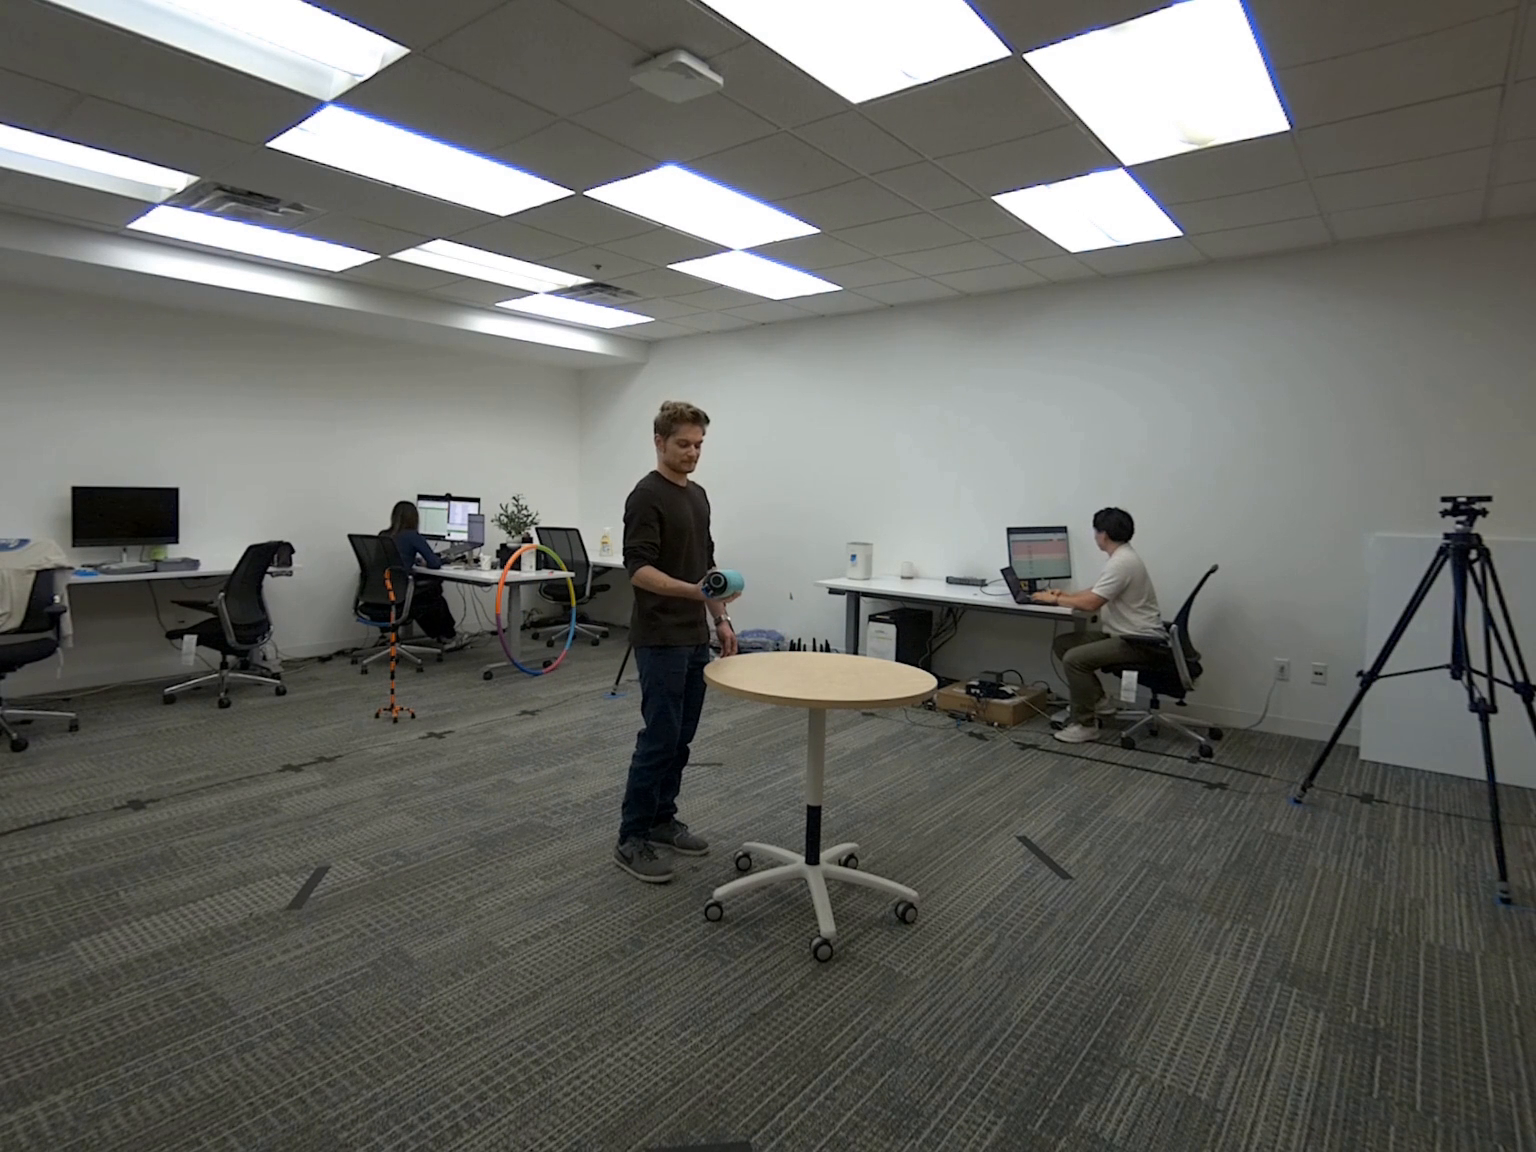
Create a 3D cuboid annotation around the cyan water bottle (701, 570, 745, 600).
[{"bbox_3d":[-0.154,0.024,2.778,0.093,0.092,0.280,1,1,7],"label":"cyan water bottle"}]
